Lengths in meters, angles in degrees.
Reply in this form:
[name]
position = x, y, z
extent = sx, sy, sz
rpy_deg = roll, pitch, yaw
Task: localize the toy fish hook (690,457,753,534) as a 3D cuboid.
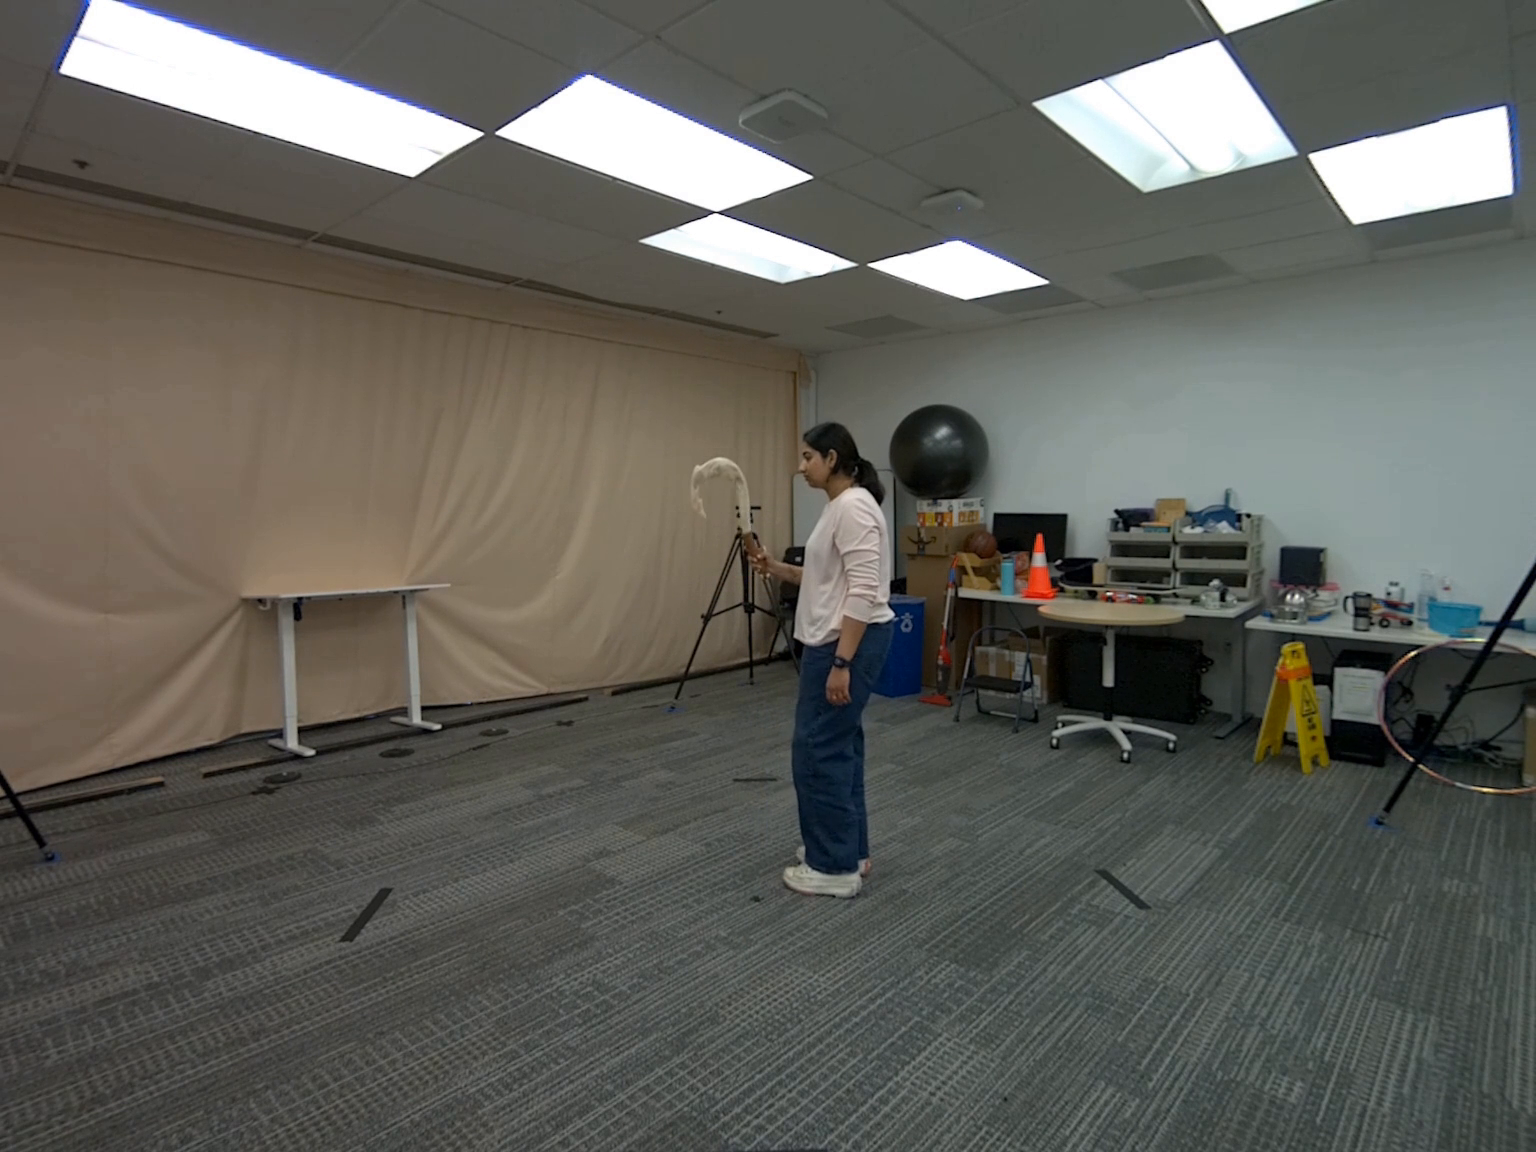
[toy fish hook]
position = -0.130, -0.199, 3.214
extent = 0.224, 0.503, 0.049
rpy_deg = -22, 7, -2
